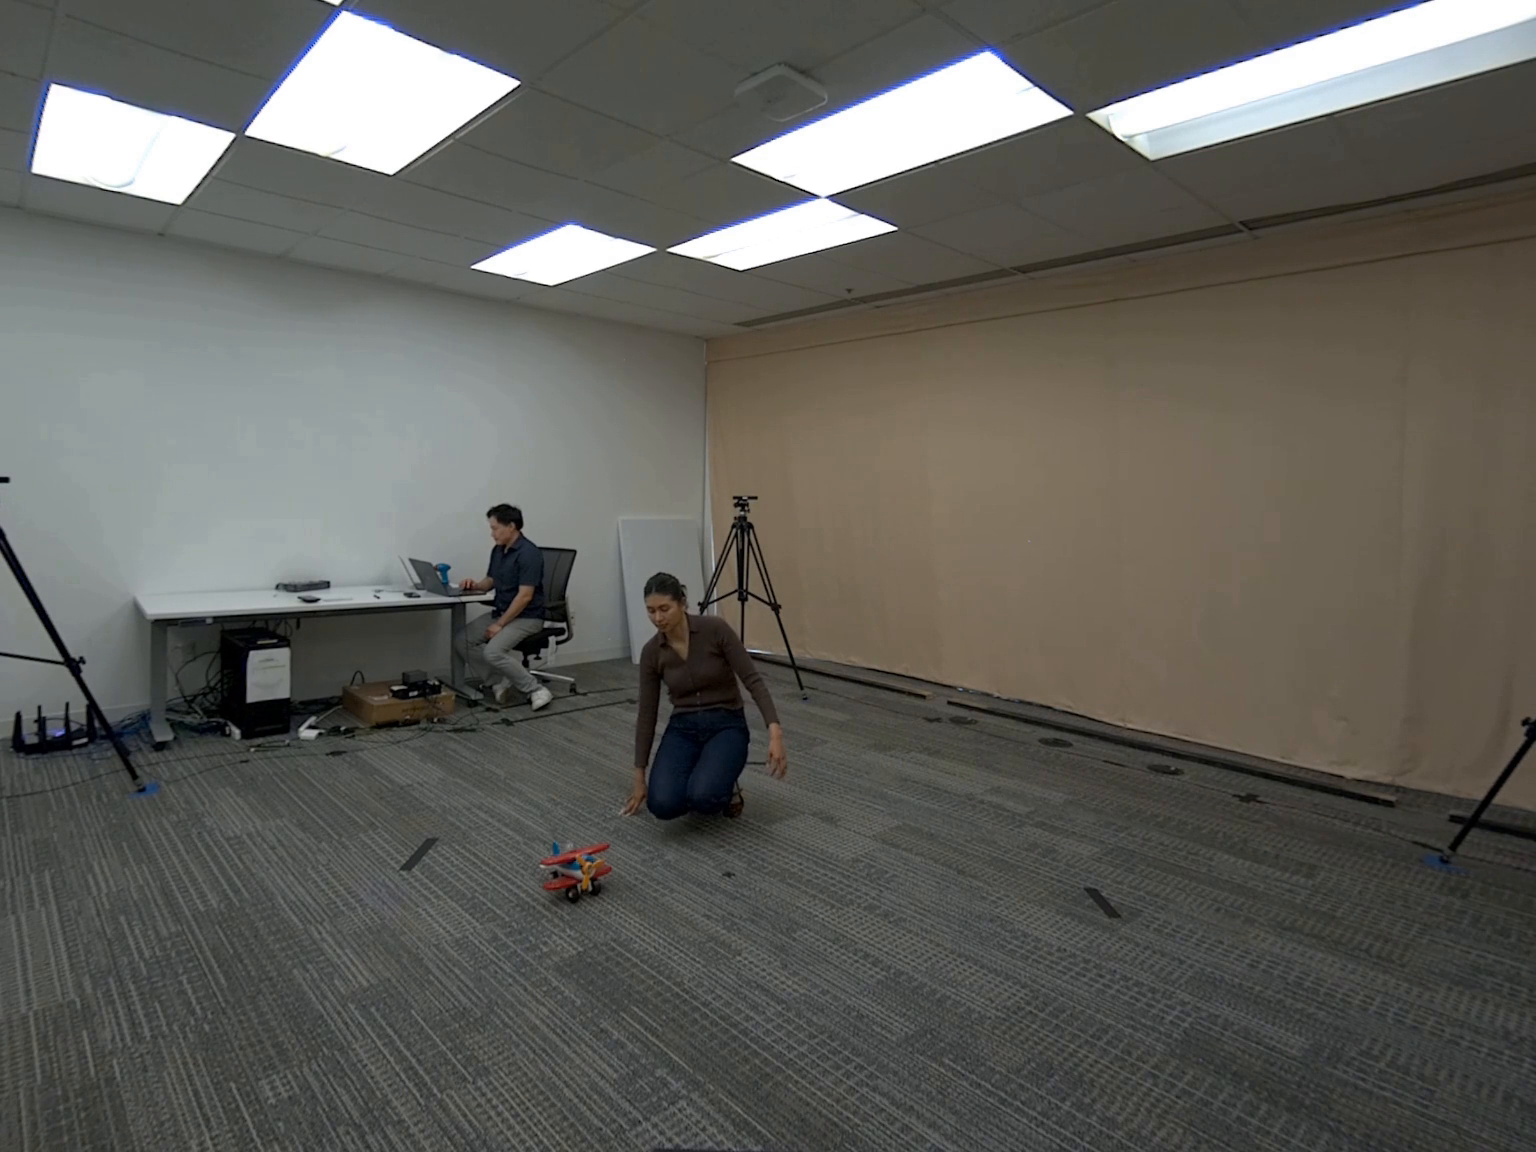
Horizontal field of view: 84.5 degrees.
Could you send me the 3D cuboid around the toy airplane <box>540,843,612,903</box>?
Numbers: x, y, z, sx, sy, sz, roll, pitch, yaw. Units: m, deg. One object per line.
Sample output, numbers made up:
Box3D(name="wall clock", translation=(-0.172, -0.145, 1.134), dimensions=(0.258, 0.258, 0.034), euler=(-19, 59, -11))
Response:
Box3D(name="toy airplane", translation=(-0.714, 1.034, 2.946), dimensions=(0.264, 0.156, 0.248), euler=(6, 8, 21))
